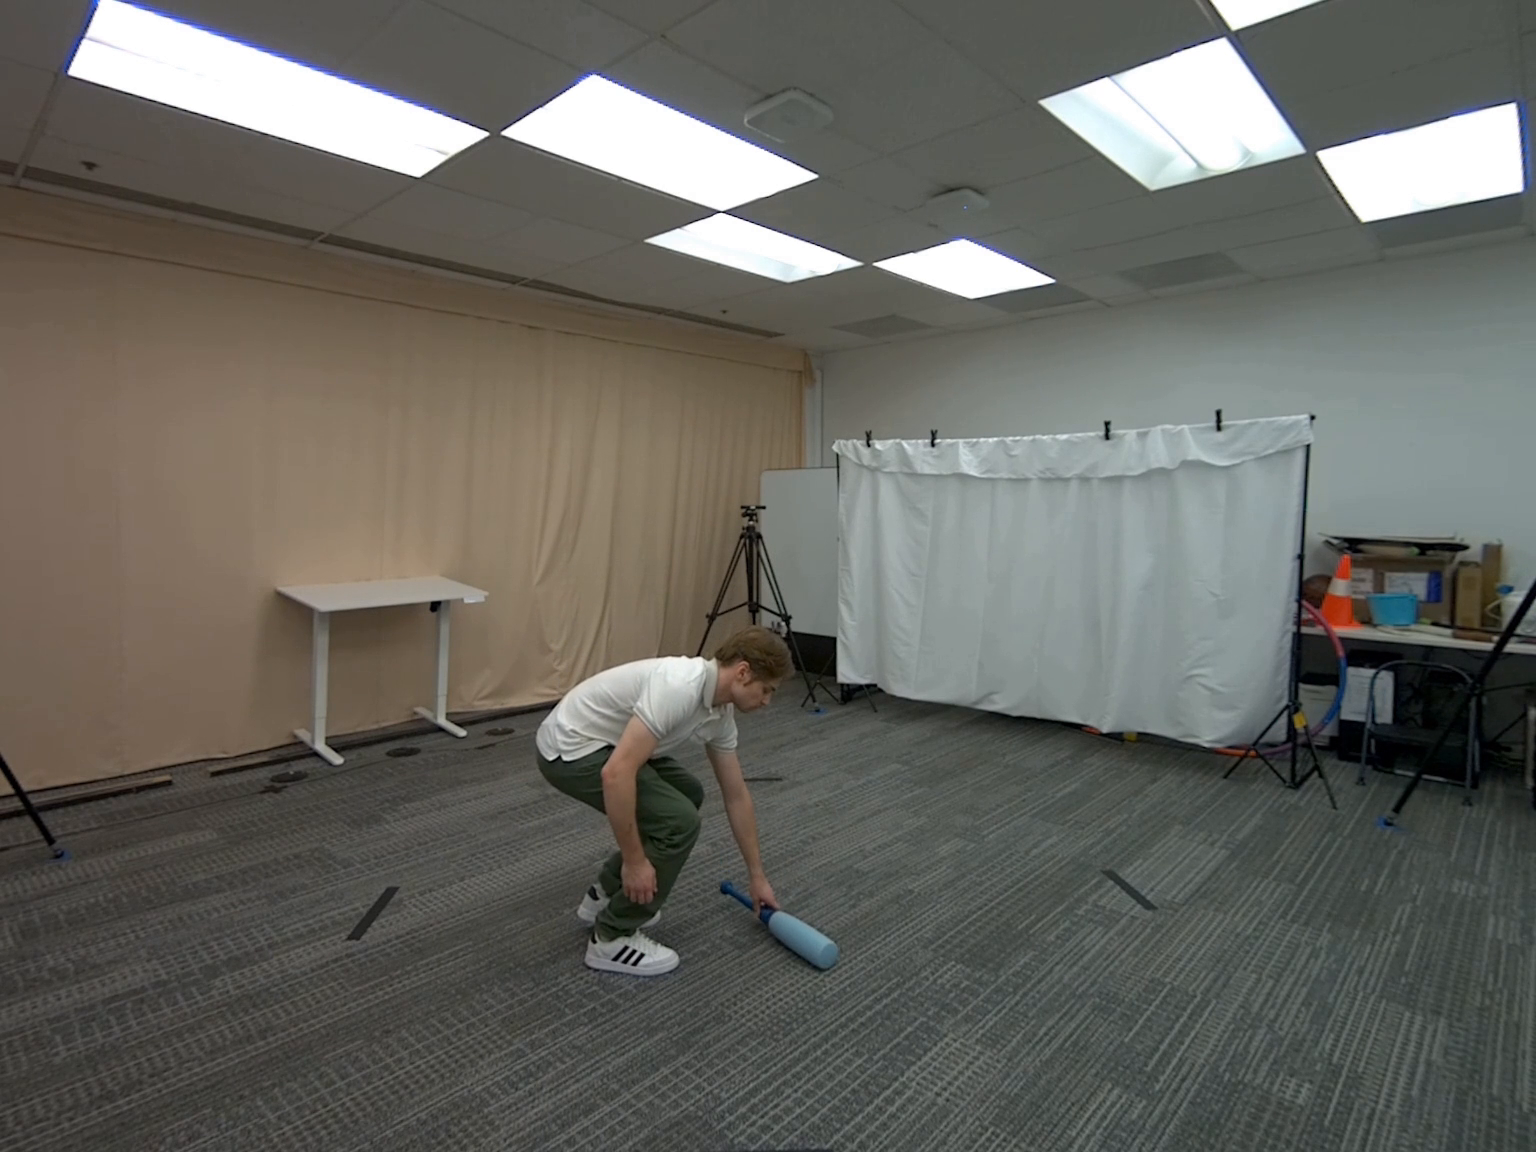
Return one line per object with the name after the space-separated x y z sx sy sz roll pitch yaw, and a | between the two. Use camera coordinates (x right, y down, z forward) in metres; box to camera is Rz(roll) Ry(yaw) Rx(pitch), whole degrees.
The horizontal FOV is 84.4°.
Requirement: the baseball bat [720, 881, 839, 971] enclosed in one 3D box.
0.019 1.118 2.735 0.086 0.089 0.560 -3 6 -36 | baseball bat
